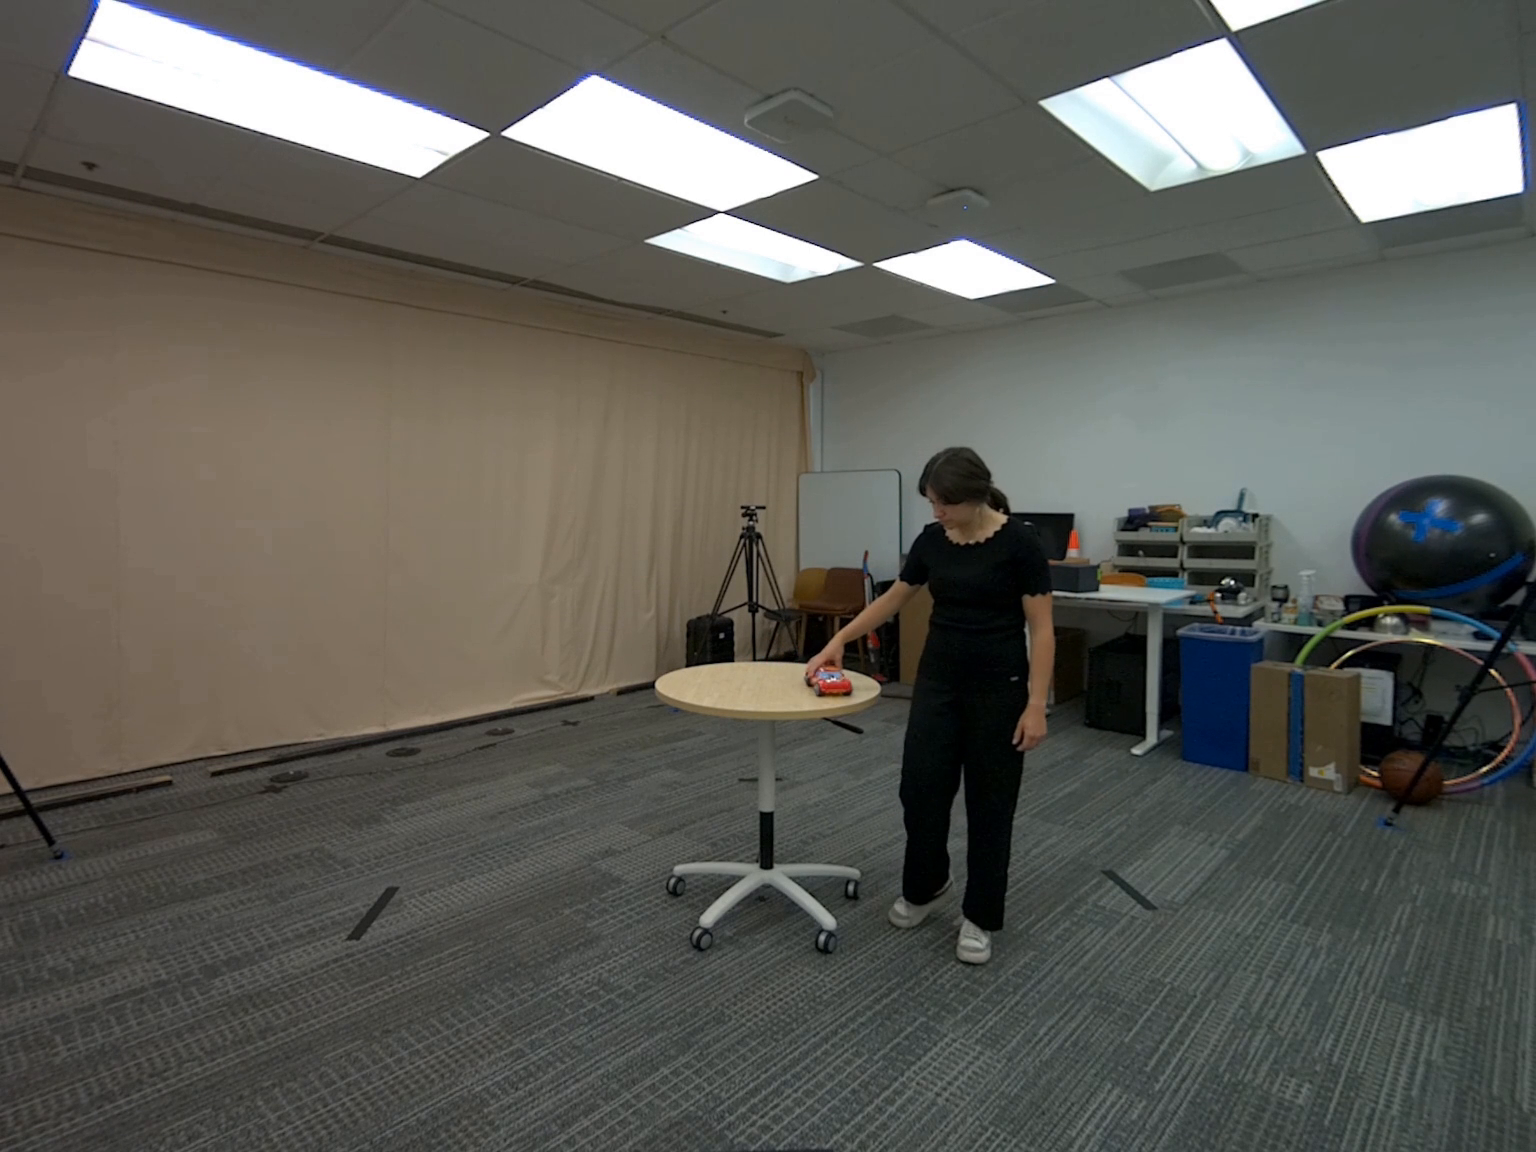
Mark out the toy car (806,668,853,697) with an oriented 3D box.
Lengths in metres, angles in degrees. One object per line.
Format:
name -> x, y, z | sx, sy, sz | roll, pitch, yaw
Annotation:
toy car -> 0.199, 0.348, 2.792 | 0.129, 0.082, 0.259 | -1, 16, -8
